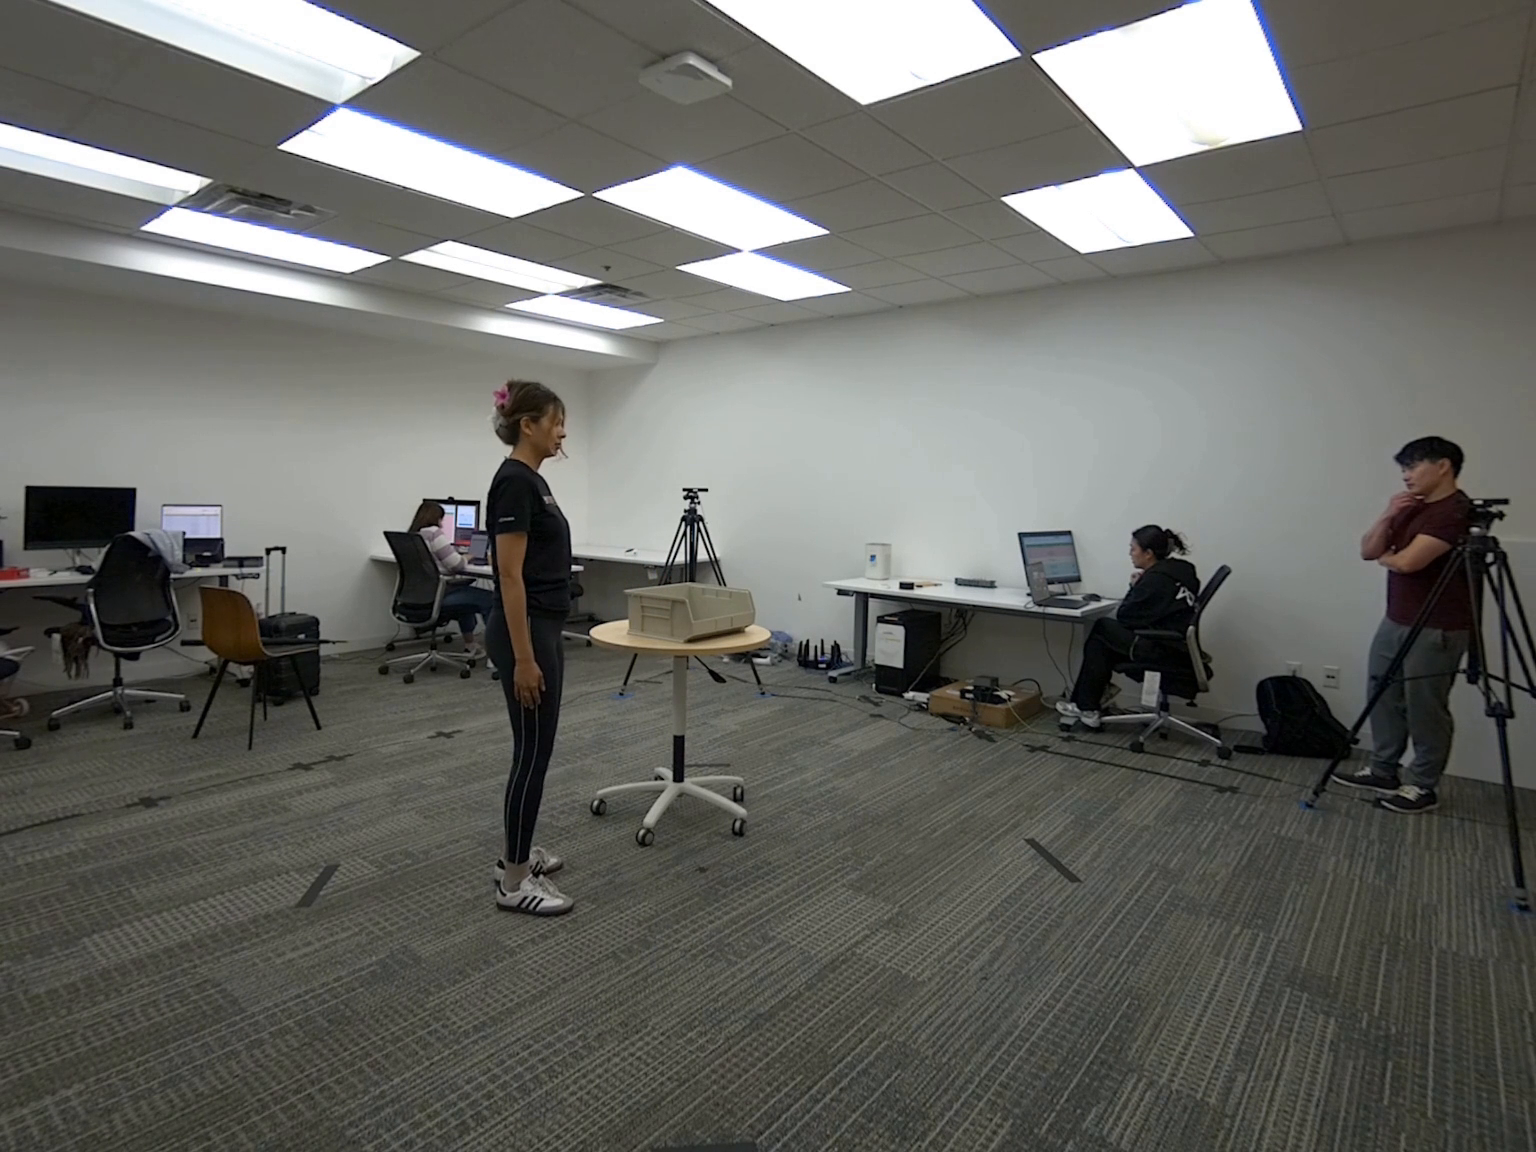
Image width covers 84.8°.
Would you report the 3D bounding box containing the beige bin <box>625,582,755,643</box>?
[{"bbox_3d":[-0.336,0.150,3.580,0.390,0.188,0.410,4,7,37],"label":"beige bin"}]
